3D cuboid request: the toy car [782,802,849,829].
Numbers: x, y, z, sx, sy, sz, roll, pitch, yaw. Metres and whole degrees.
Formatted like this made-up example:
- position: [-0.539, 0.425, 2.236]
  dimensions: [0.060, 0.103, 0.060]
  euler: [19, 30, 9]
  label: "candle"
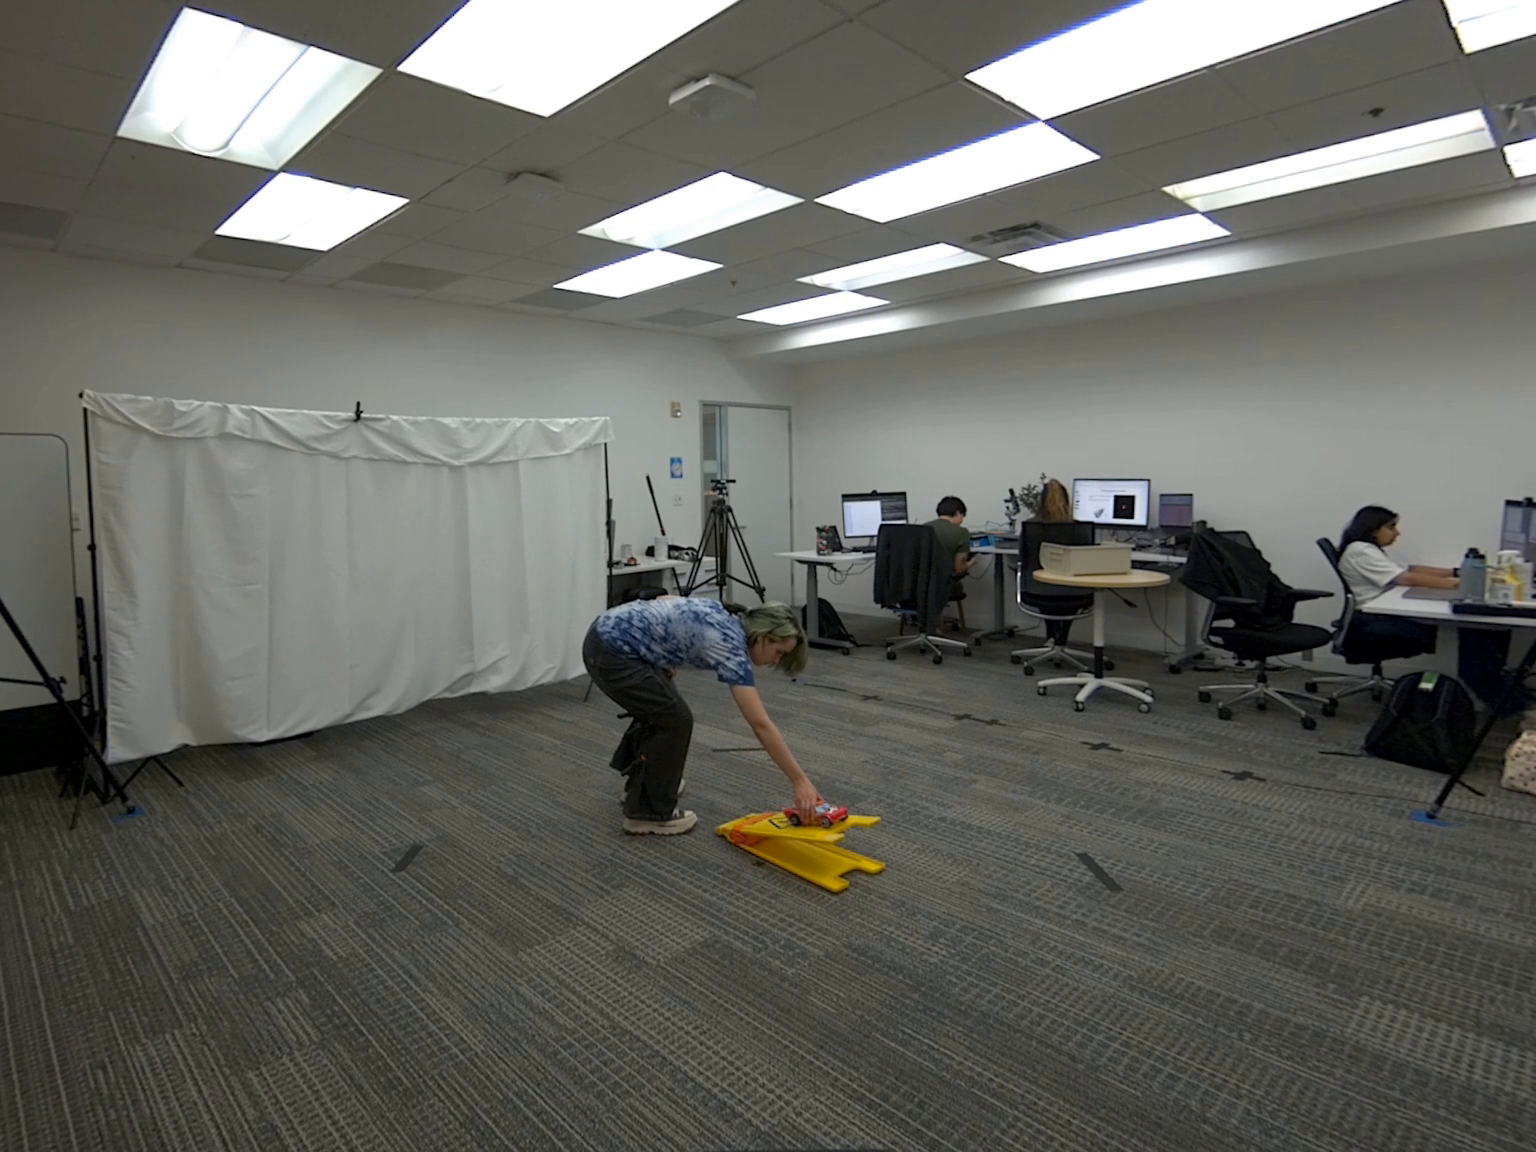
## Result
- position: [0.171, 0.870, 3.106]
  dimensions: [0.127, 0.083, 0.262]
  euler: [-10, 7, -43]
  label: "toy car"
